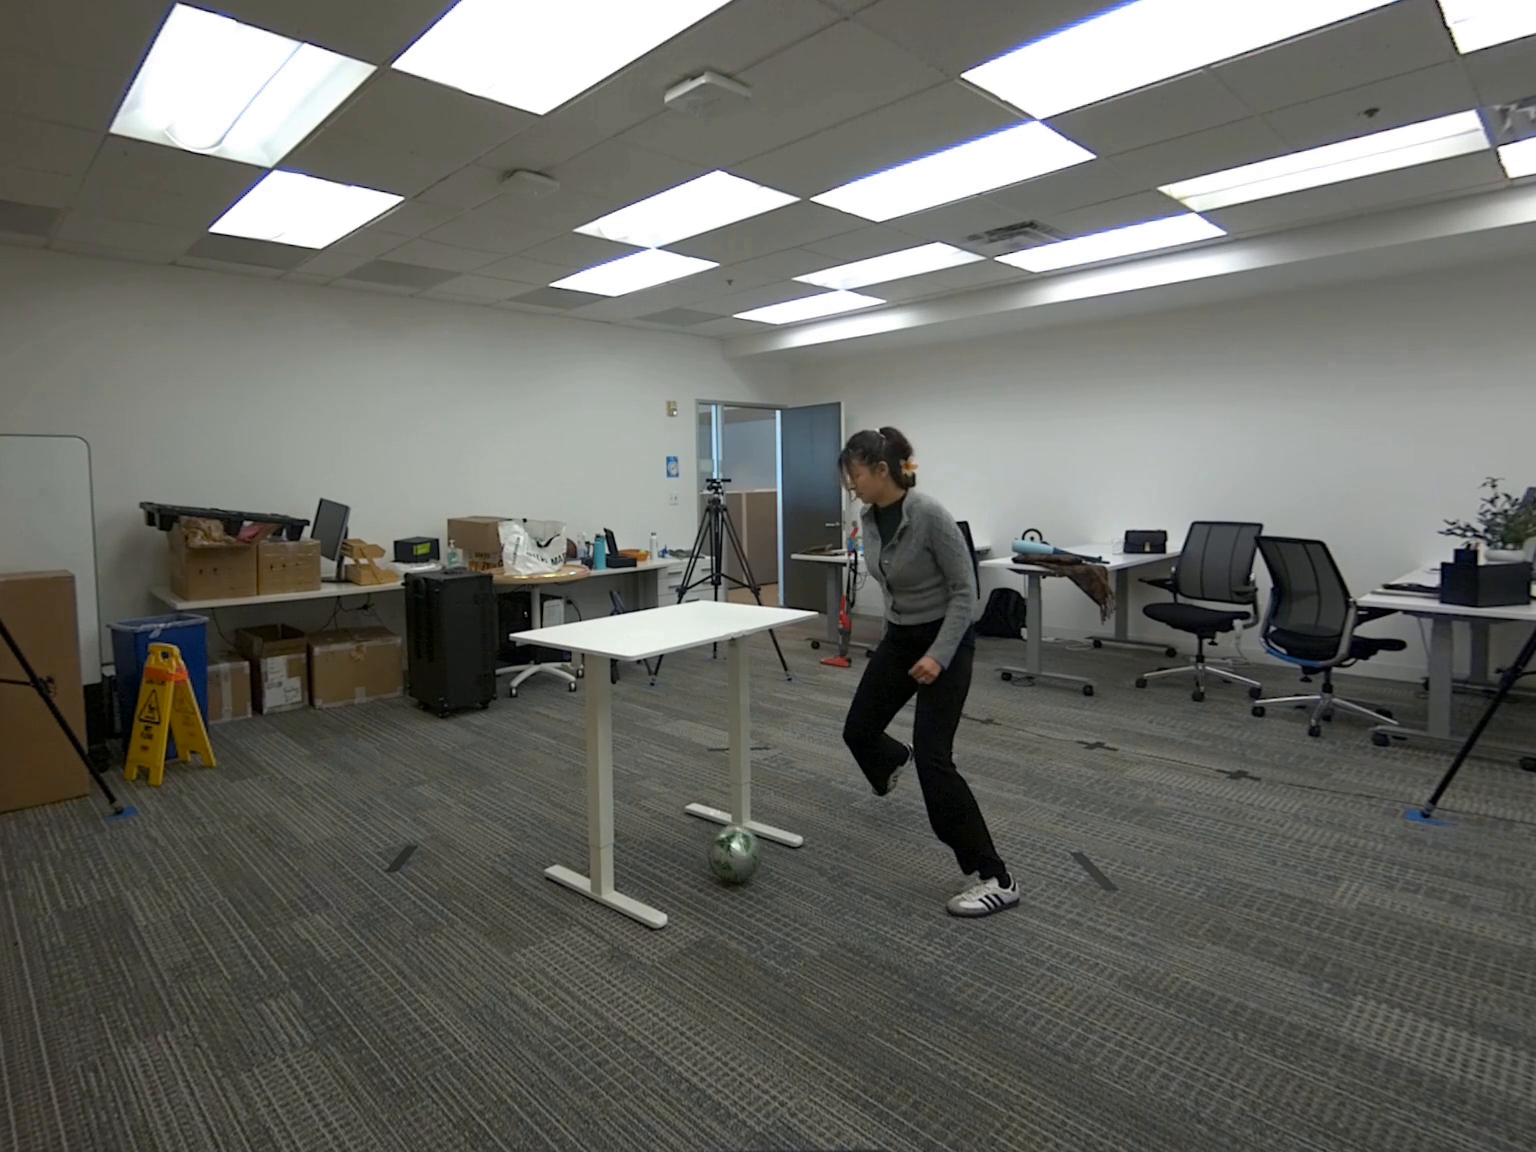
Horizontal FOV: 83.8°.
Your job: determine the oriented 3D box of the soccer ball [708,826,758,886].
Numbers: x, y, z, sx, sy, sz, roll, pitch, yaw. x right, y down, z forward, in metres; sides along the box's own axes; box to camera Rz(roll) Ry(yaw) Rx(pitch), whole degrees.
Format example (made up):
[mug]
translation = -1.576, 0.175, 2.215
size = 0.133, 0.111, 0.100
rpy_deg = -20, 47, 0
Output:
[soccer ball]
translation = -0.111, 0.969, 2.962
size = 0.187, 0.187, 0.188
rpy_deg = -1, 5, -2
